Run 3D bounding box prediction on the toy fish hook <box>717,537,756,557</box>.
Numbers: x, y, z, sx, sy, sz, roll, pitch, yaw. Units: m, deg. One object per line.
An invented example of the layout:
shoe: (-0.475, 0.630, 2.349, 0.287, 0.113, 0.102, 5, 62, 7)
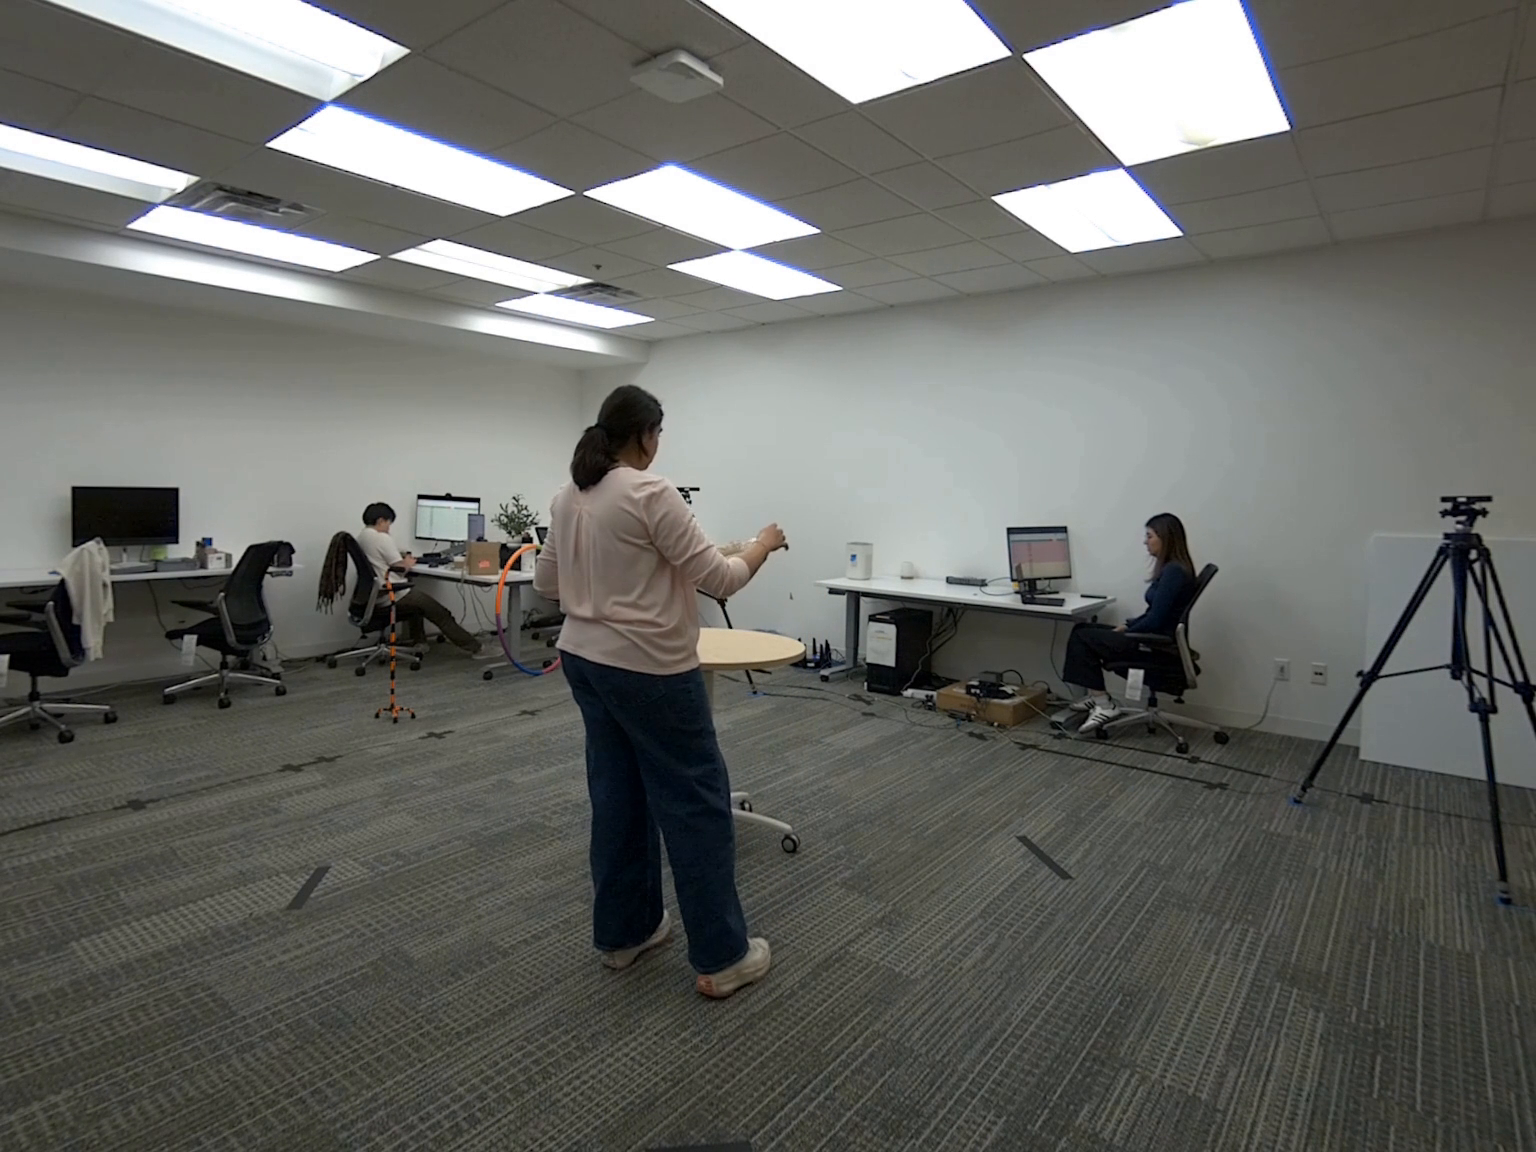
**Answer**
toy fish hook: (-0.258, -0.010, 2.702, 0.507, 0.047, 0.230, -19, 23, 2)
